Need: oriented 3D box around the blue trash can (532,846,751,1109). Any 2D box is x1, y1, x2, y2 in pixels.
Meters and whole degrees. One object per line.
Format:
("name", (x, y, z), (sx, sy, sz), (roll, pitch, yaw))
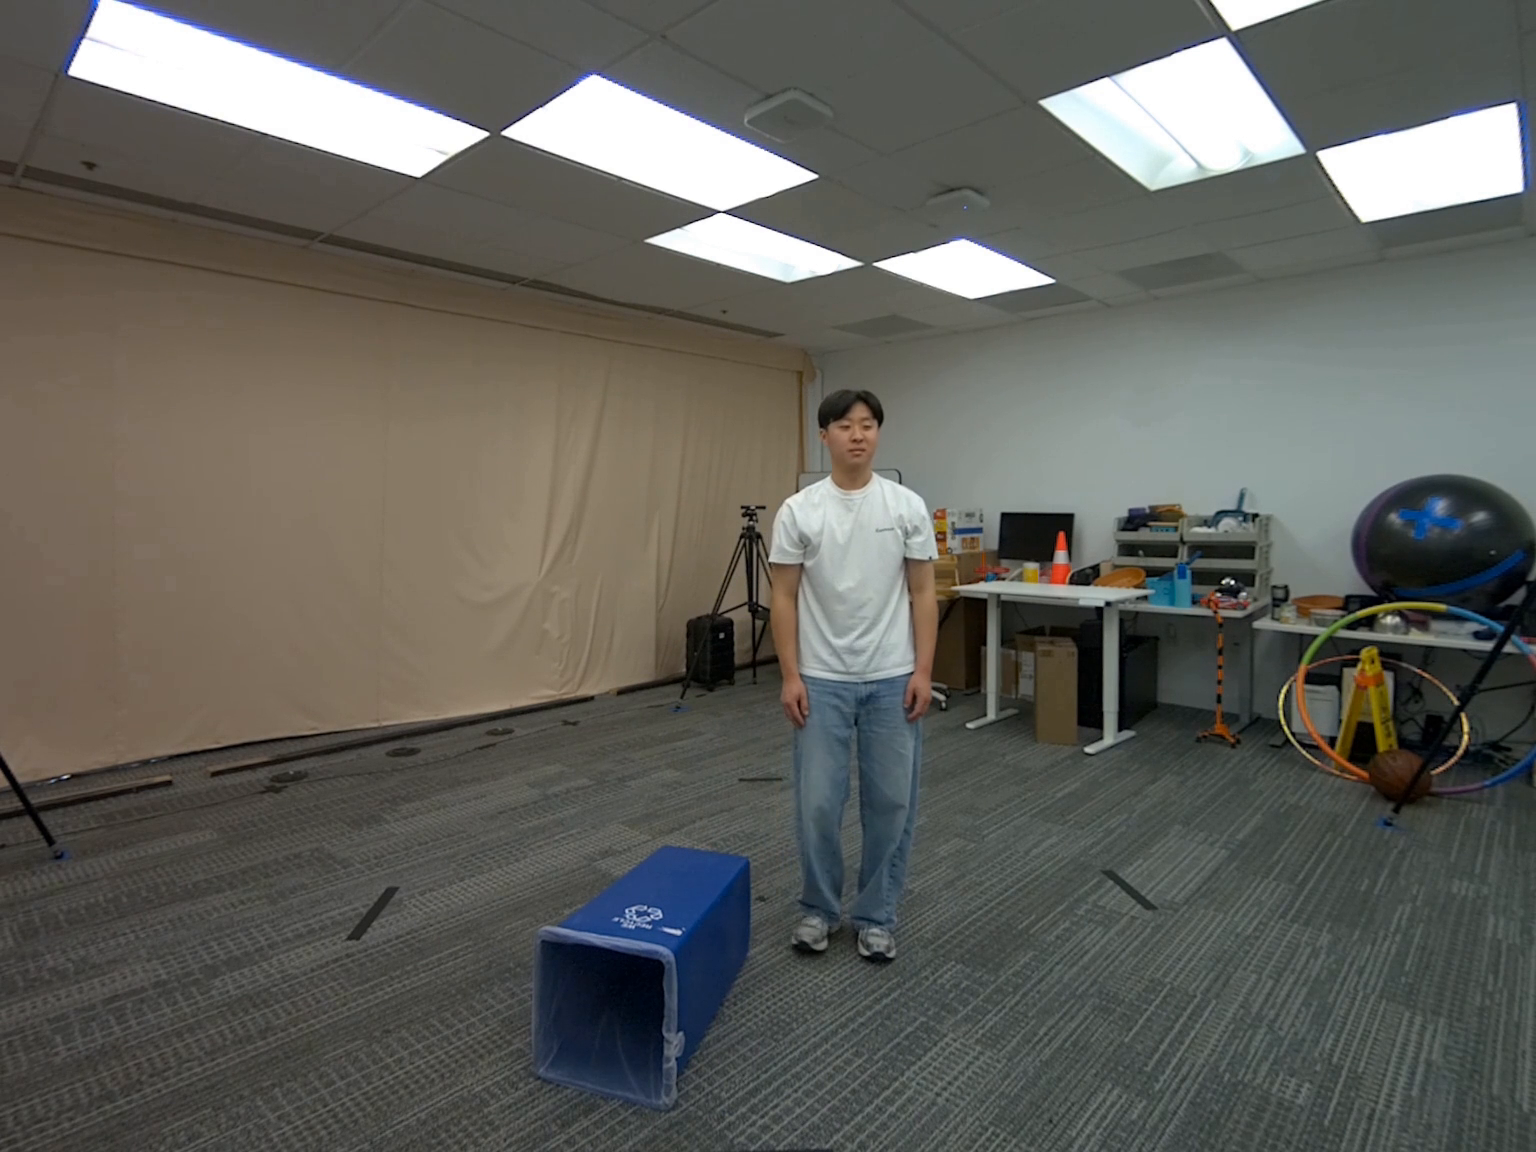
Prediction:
("blue trash can", (-0.303, 1.035, 2.316), (0.381, 0.378, 0.700), (1, 1, 17))
